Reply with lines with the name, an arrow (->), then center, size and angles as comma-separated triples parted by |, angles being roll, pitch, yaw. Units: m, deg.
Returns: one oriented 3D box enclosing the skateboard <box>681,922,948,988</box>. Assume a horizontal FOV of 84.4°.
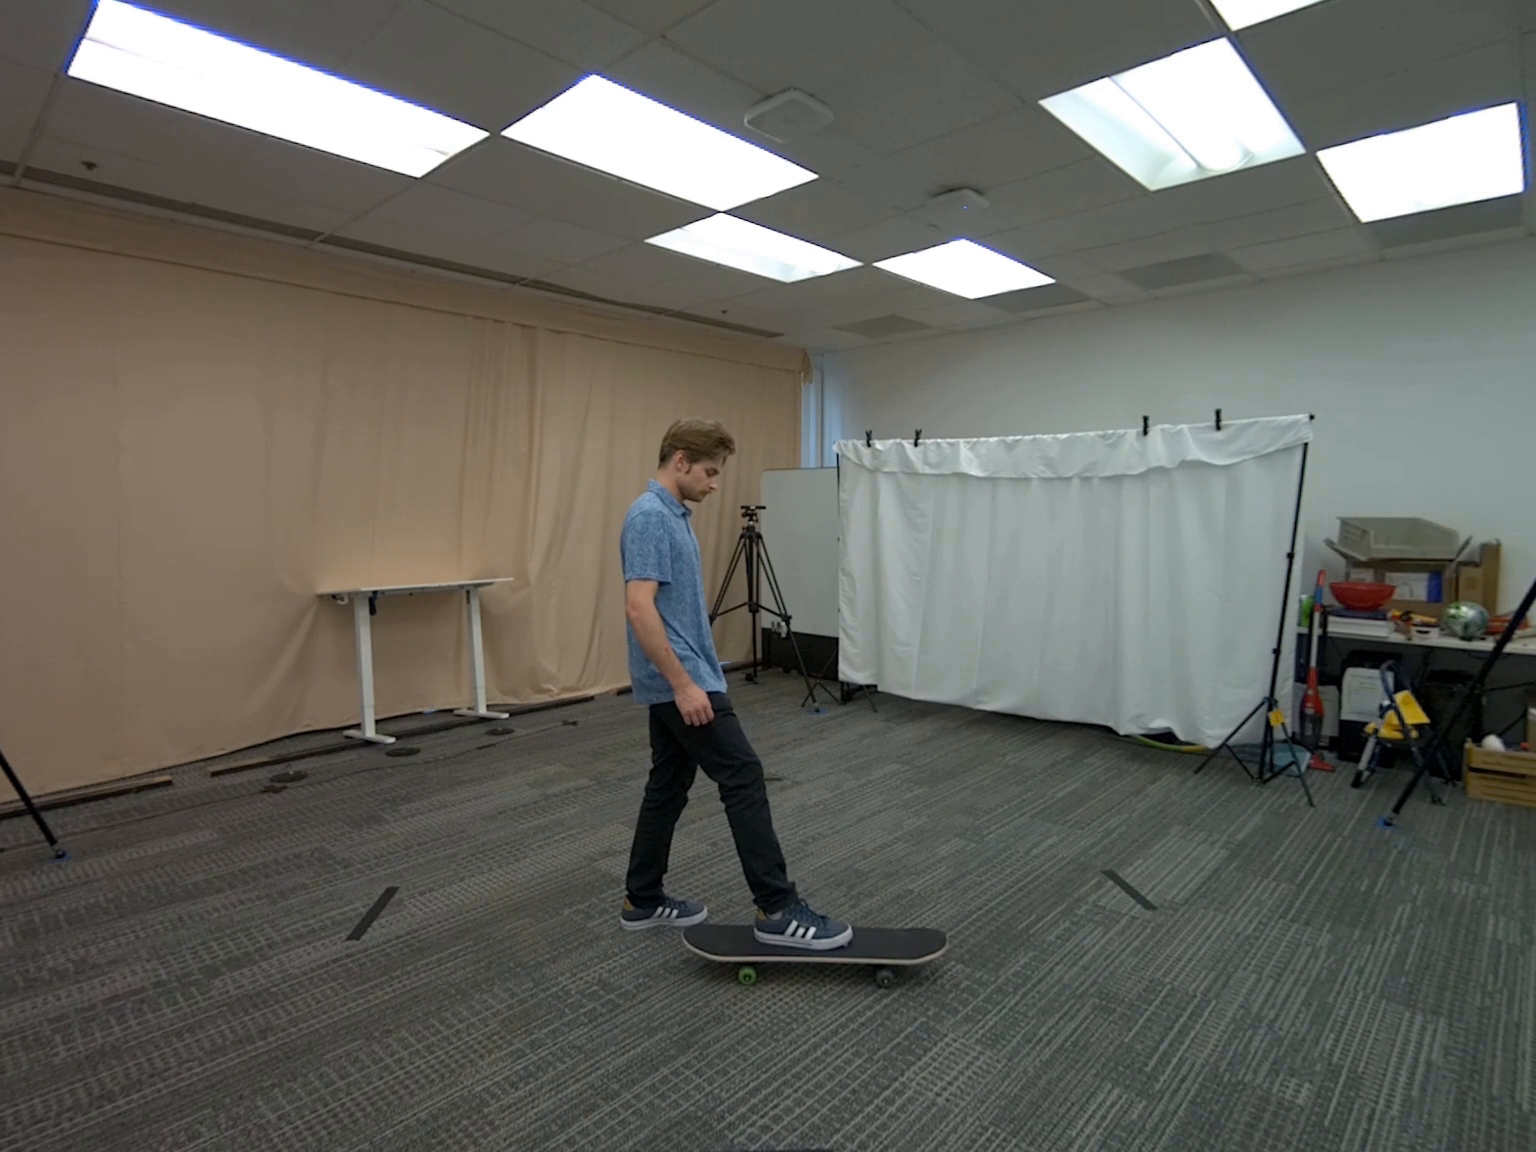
skateboard -> 0.139, 1.119, 2.523 | 0.787, 0.110, 0.193 | 0, 3, 2
